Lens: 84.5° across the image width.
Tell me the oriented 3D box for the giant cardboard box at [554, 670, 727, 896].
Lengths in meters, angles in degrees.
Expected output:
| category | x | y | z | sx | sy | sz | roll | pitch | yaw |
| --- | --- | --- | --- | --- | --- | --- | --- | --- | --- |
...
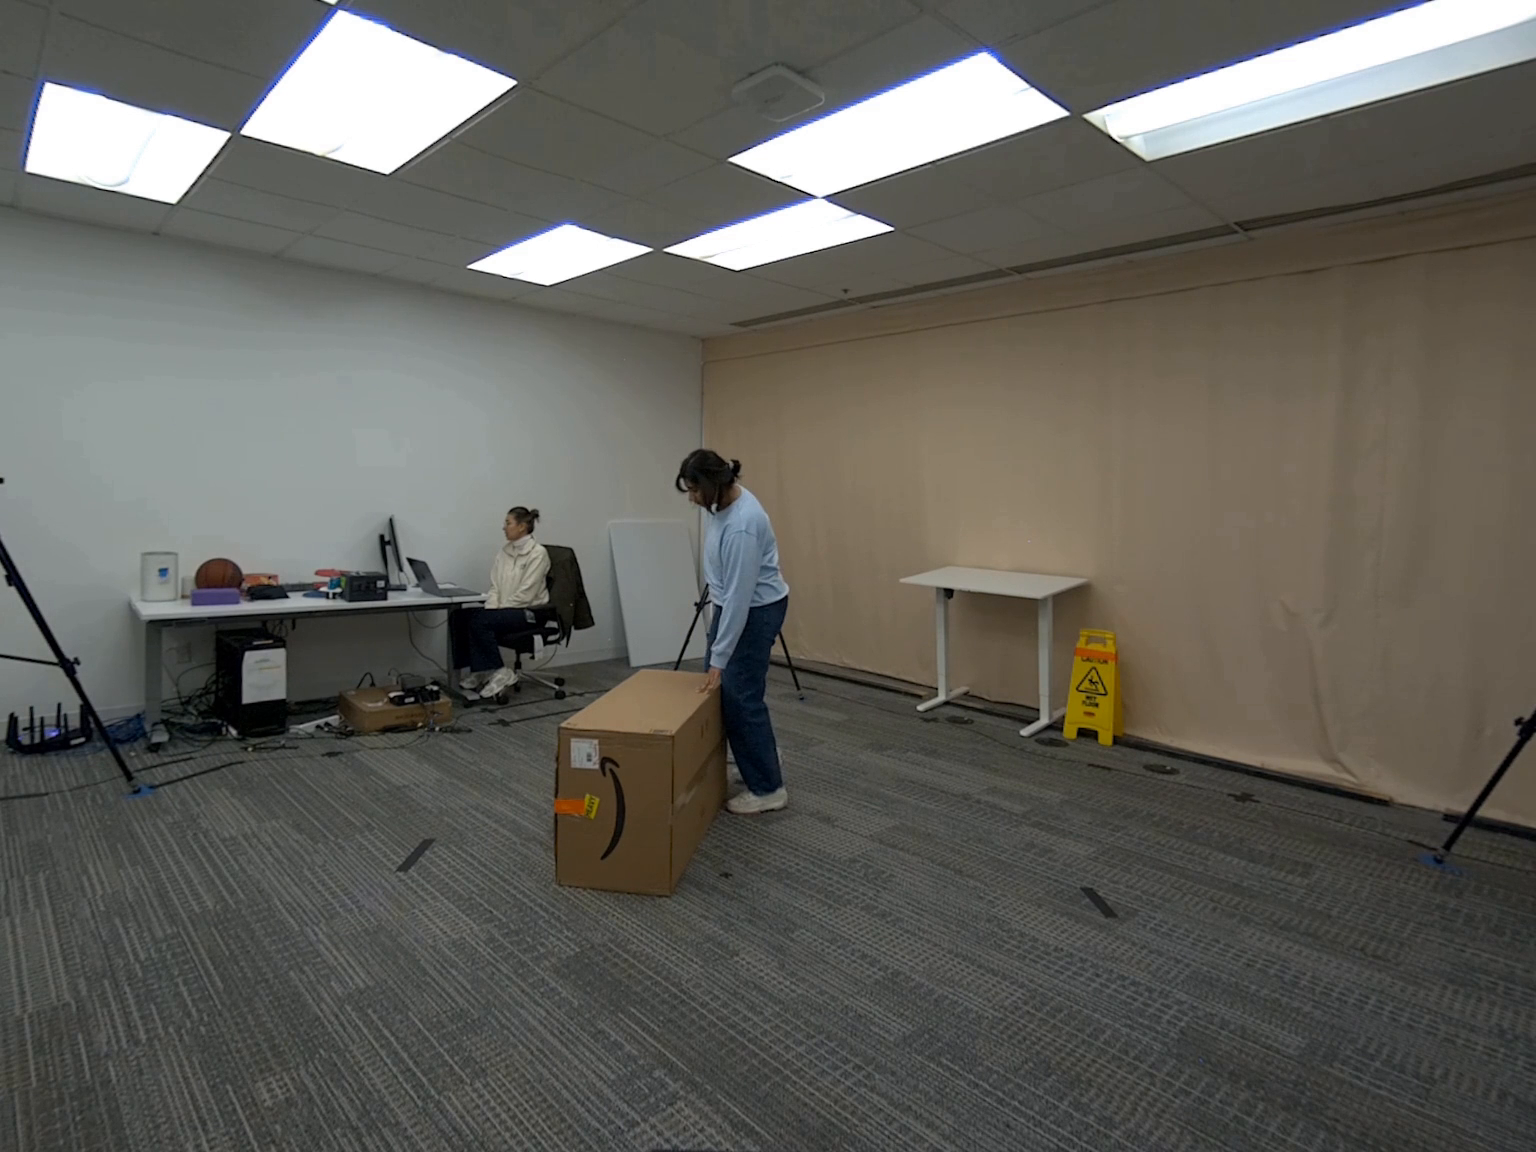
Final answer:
| category | x | y | z | sx | sy | sz | roll | pitch | yaw |
| --- | --- | --- | --- | --- | --- | --- | --- | --- | --- |
| giant cardboard box | -0.482 | 0.775 | 3.440 | 0.429 | 0.576 | 1.021 | 2 | 5 | 8 |
